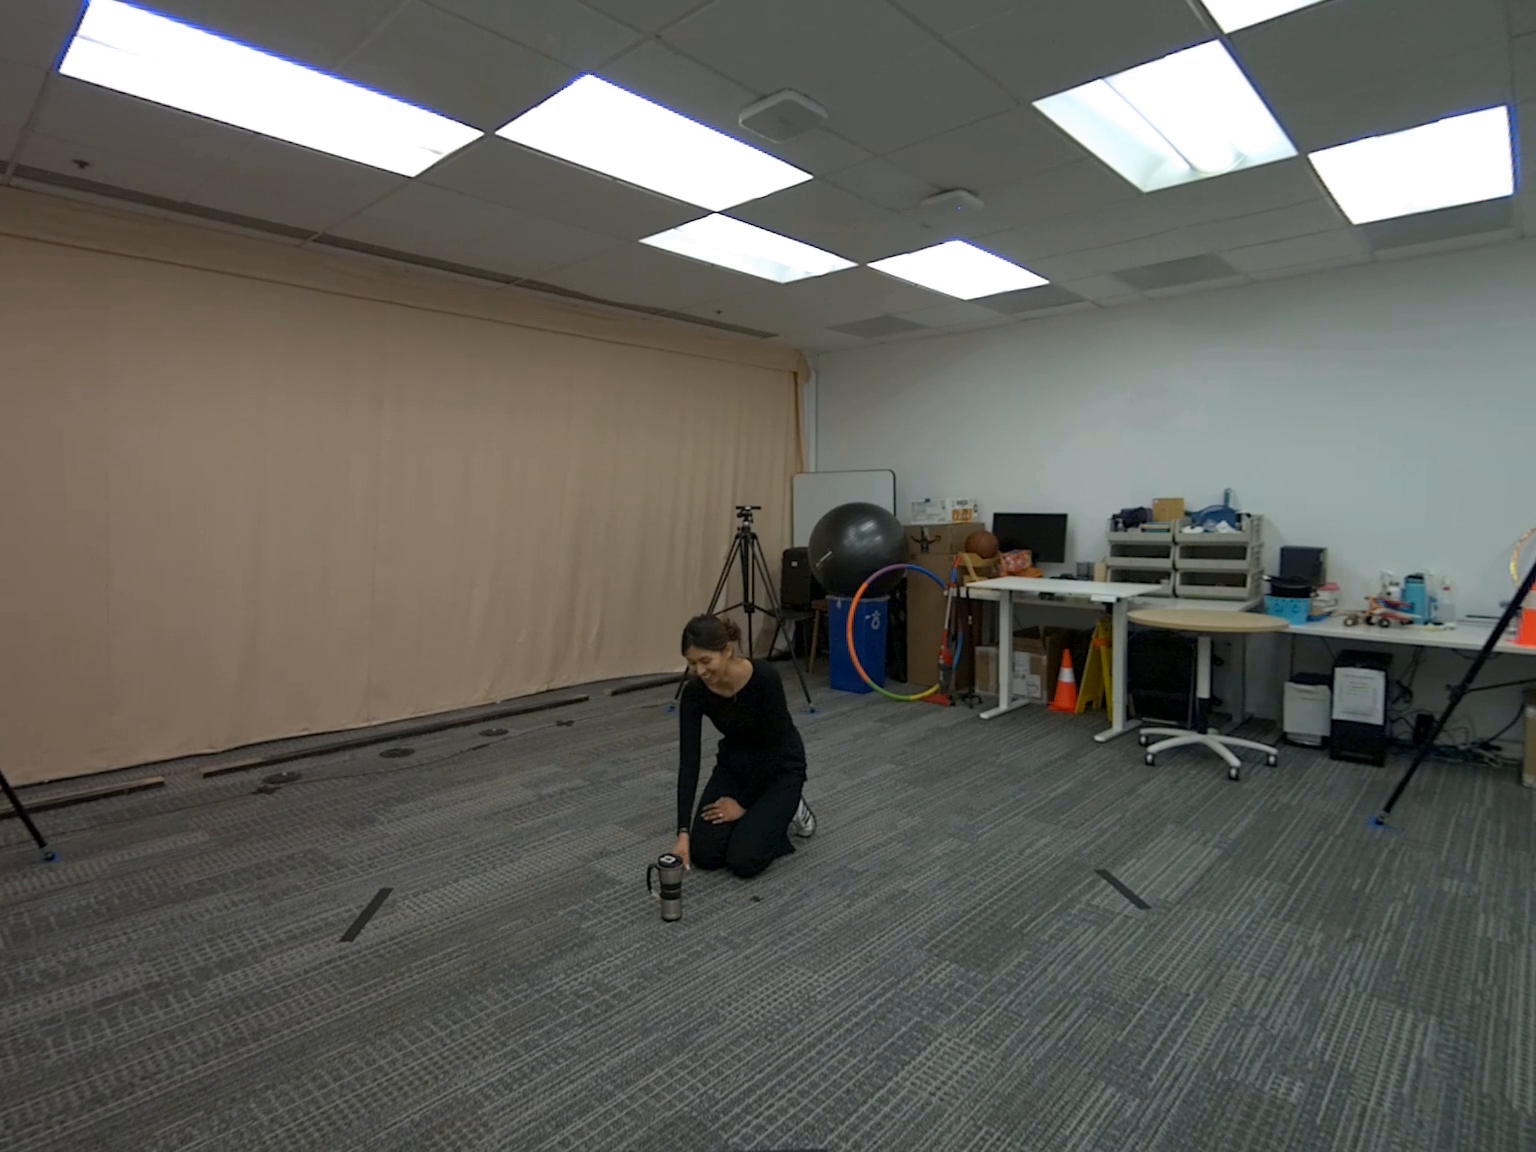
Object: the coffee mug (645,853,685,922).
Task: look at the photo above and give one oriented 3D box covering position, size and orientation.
[{"bbox_3d":[-0.346,1.053,2.858,0.125,0.202,0.086,4,7,22],"label":"coffee mug"}]
